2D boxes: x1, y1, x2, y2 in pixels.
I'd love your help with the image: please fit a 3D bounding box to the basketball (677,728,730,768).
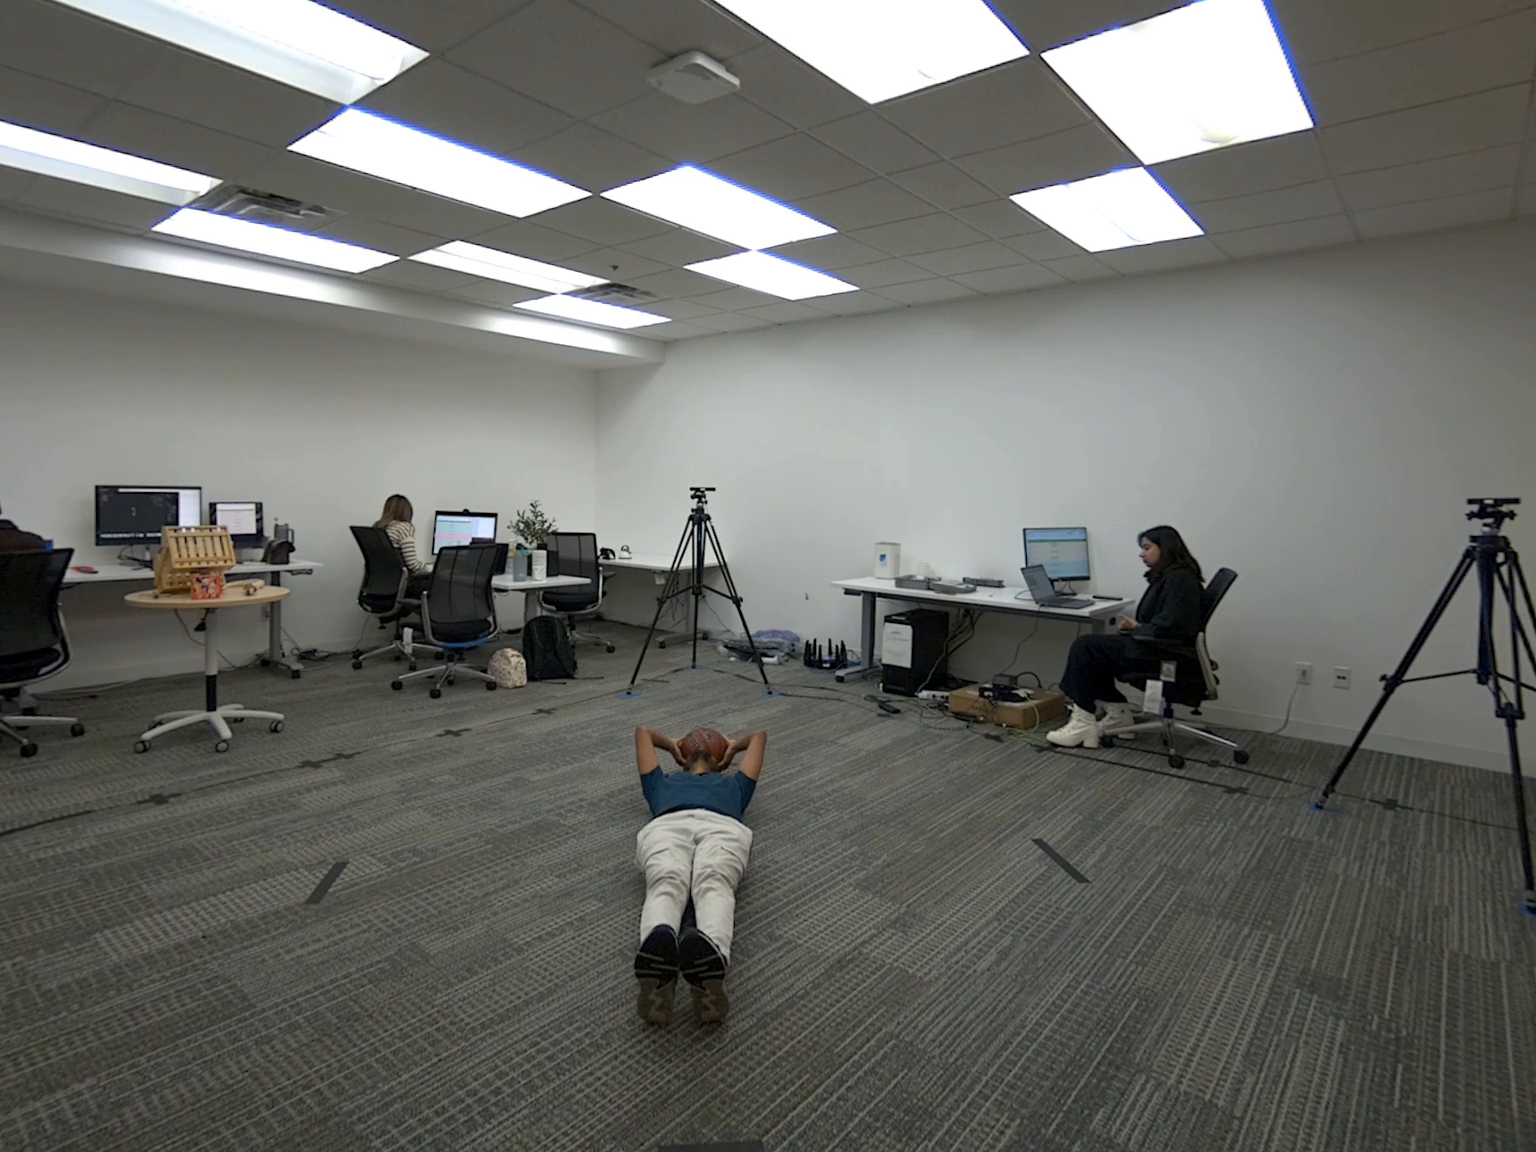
[{"bbox_3d":[-0.320,0.849,4.099,0.235,0.235,0.237,1,4,-2],"label":"basketball"}]
